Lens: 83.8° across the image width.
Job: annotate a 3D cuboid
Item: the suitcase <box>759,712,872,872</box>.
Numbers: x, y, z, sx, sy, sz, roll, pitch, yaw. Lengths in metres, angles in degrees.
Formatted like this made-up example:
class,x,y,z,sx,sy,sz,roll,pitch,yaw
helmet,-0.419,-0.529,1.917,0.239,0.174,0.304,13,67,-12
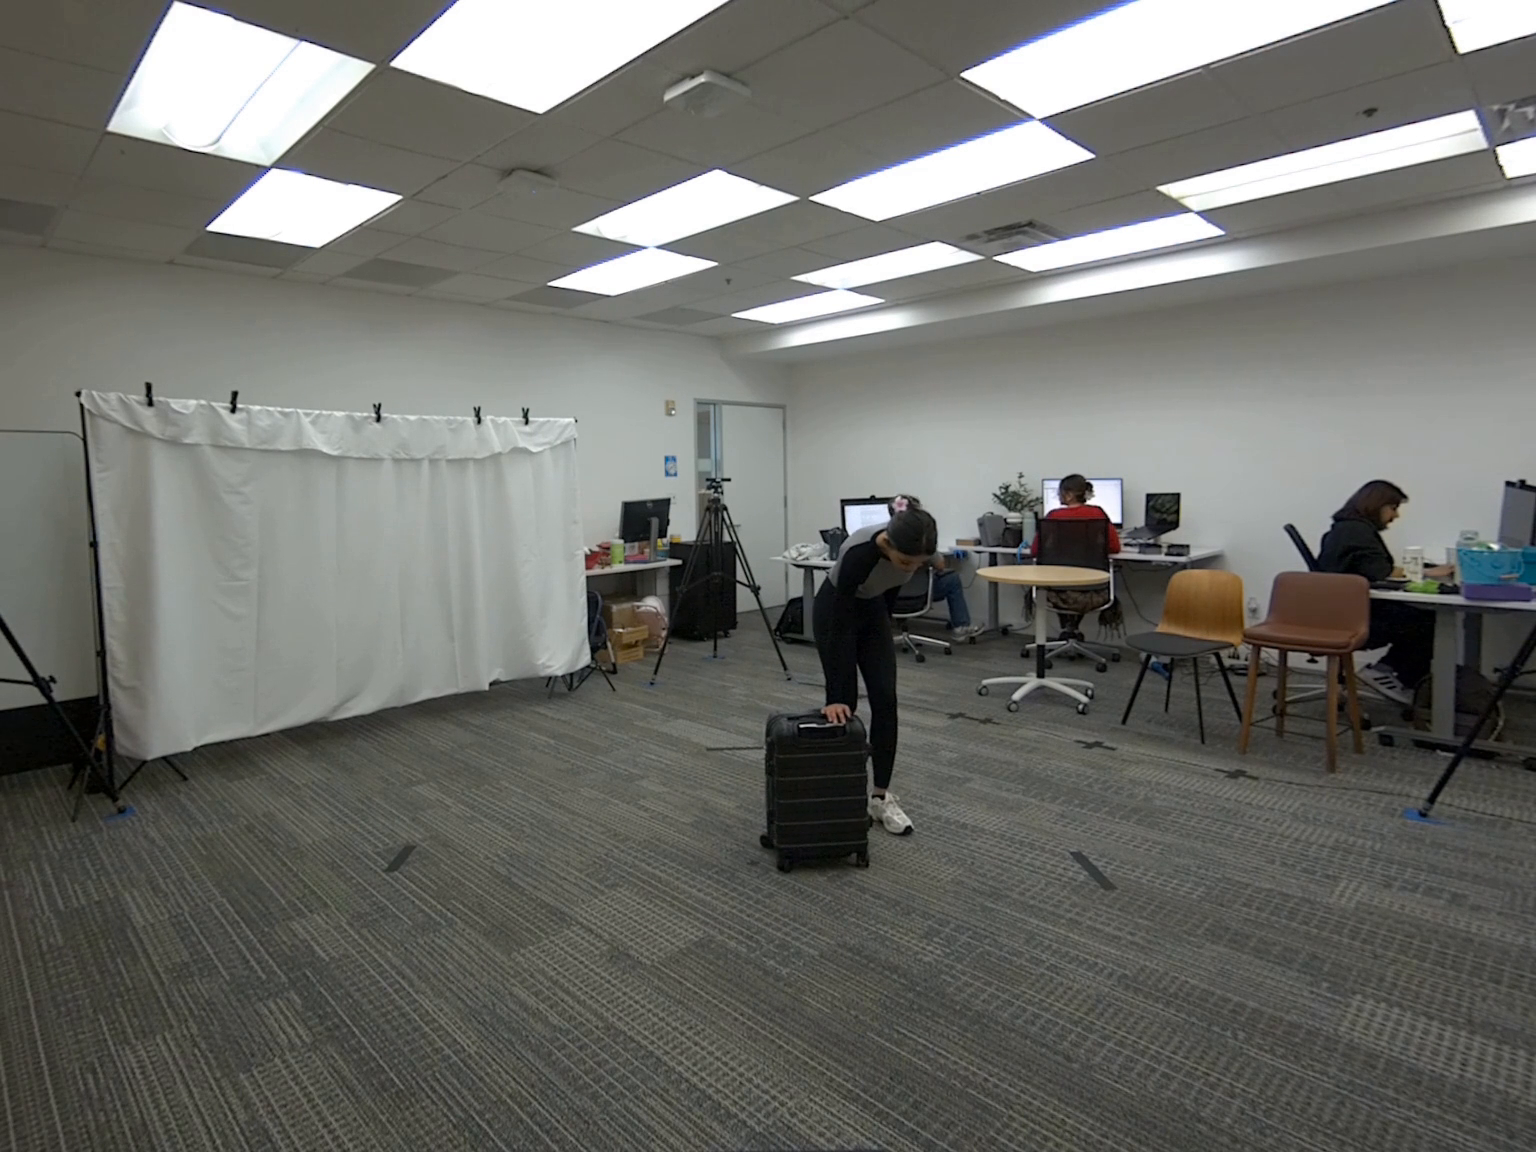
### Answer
class,x,y,z,sx,sy,sz,roll,pitch,yaw
suitcase,0.173,0.761,3.116,0.373,0.547,0.251,-1,4,-7
